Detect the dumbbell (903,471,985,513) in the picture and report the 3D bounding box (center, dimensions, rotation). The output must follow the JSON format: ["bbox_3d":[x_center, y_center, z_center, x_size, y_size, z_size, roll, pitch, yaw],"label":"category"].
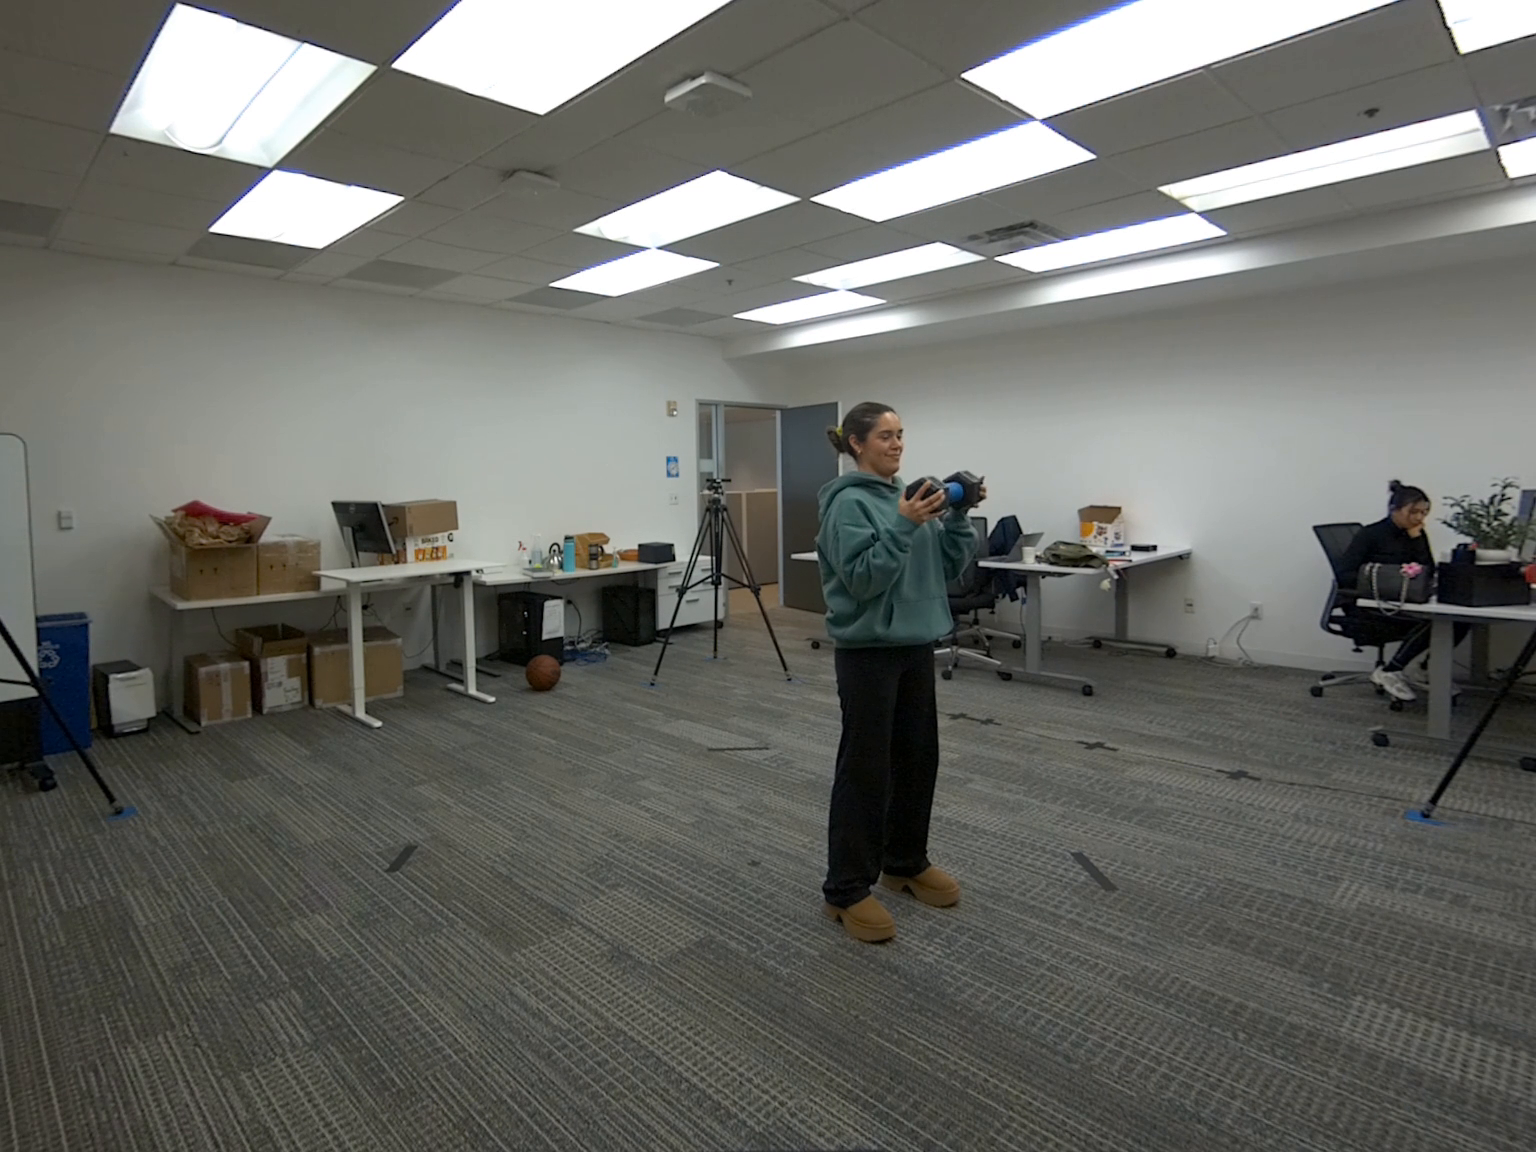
[{"bbox_3d":[0.526,-0.237,2.554,0.125,0.109,0.287,-25,-7,39],"label":"dumbbell"}]
